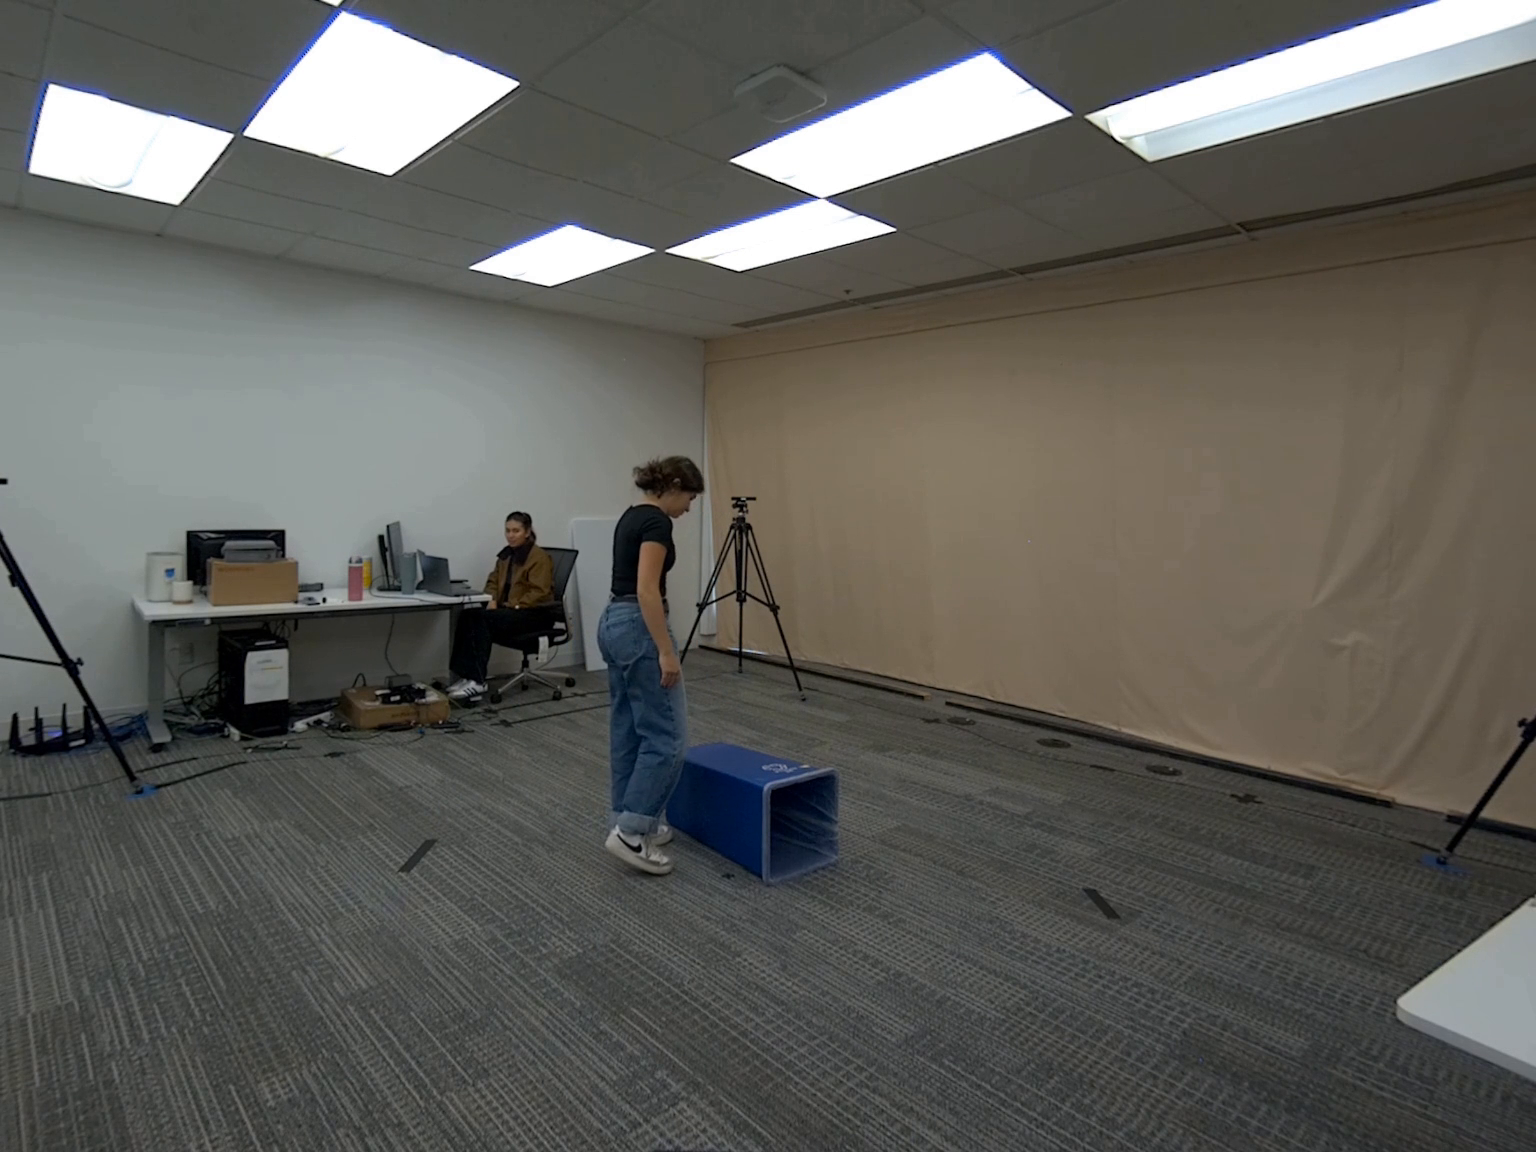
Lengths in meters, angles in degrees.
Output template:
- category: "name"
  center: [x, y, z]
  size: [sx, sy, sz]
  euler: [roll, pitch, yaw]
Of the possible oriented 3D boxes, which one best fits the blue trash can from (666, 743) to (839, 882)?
- category: "blue trash can"
  center: [-0.098, 0.919, 3.403]
  size: [0.370, 0.374, 0.730]
  euler: [-3, 3, -38]
